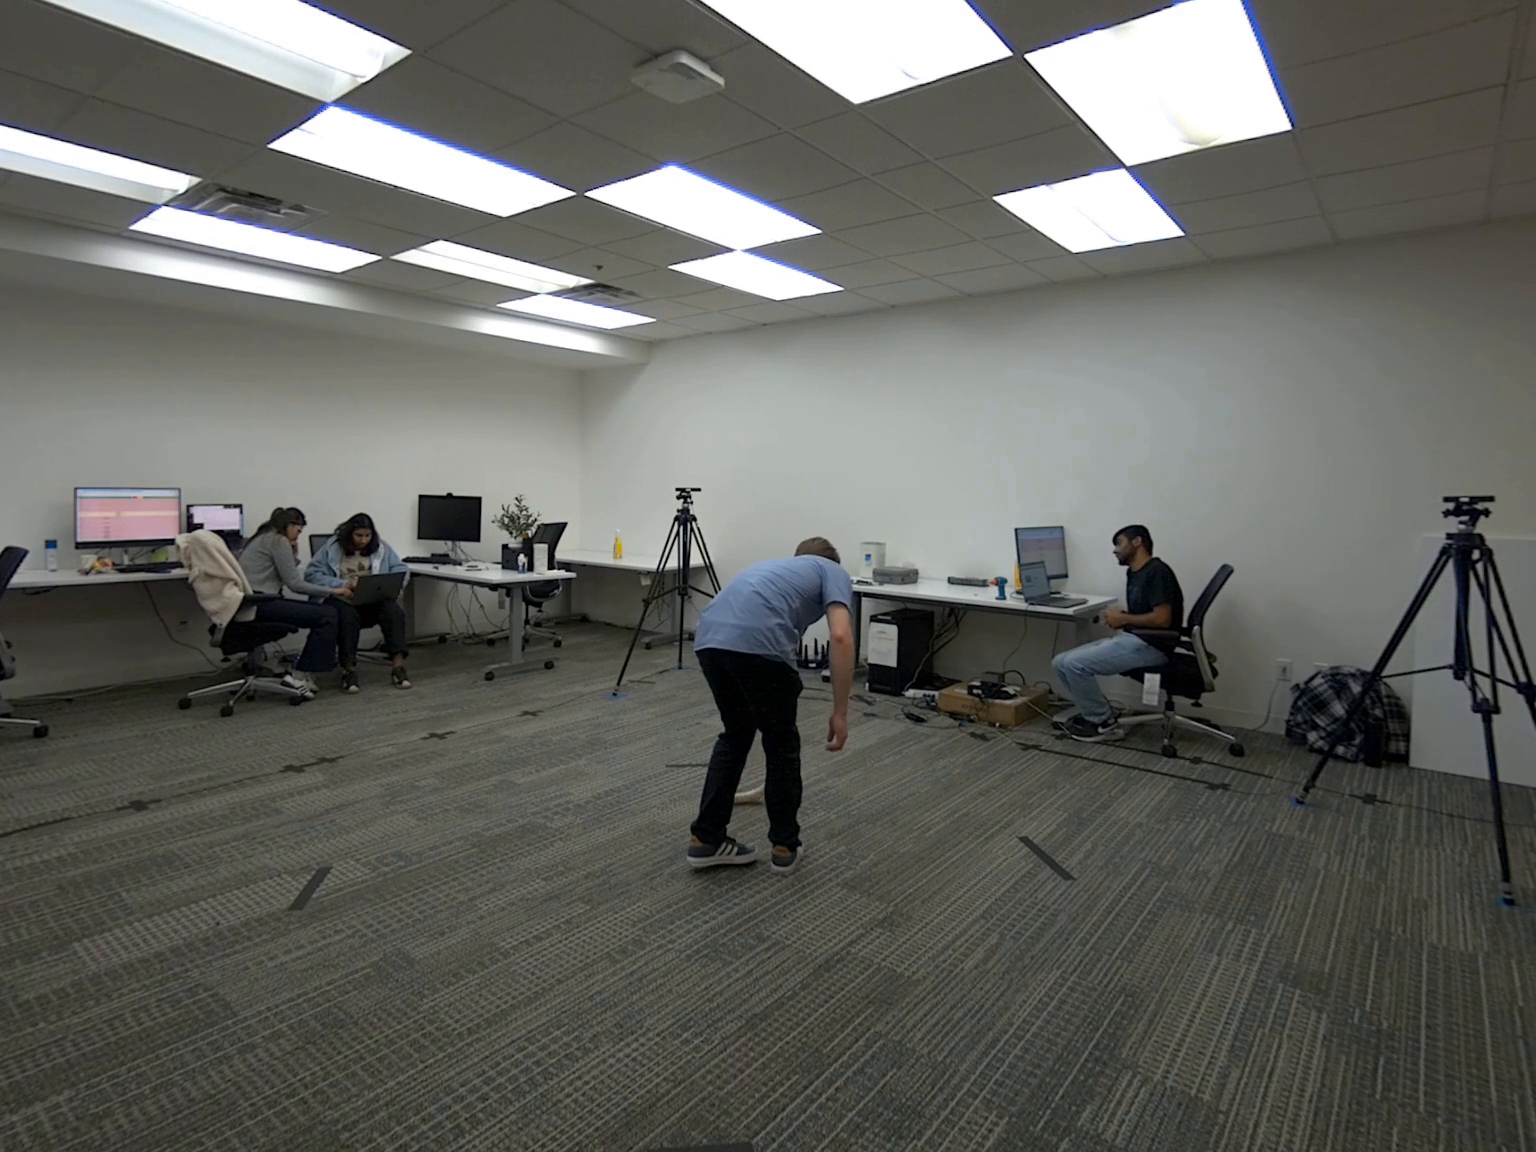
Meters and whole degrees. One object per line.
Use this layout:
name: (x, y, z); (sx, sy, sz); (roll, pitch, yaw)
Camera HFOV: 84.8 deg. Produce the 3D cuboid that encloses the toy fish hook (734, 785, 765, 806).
toy fish hook: (-0.046, 0.841, 3.611); (0.219, 0.050, 0.500); (-3, -38, -26)
